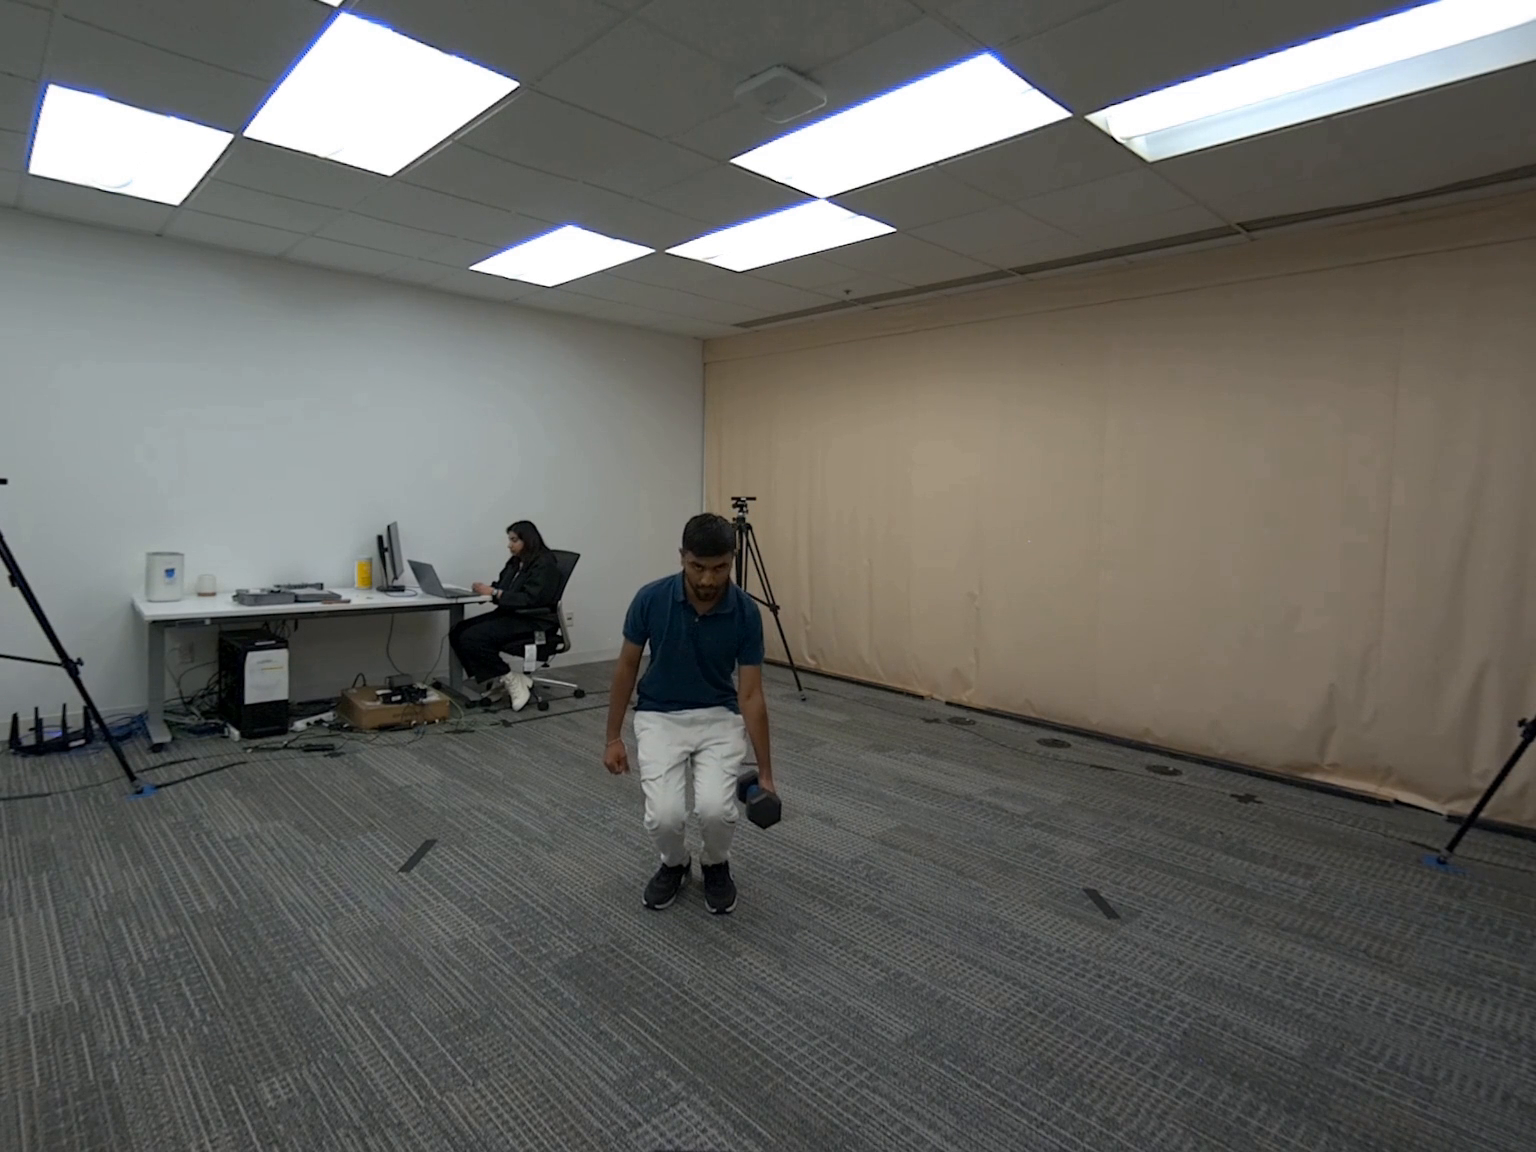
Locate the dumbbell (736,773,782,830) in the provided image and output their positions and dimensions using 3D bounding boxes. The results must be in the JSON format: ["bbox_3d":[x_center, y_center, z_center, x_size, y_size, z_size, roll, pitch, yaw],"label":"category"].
[{"bbox_3d":[-0.042,0.739,2.845,0.108,0.123,0.296,3,3,-10],"label":"dumbbell"}]
